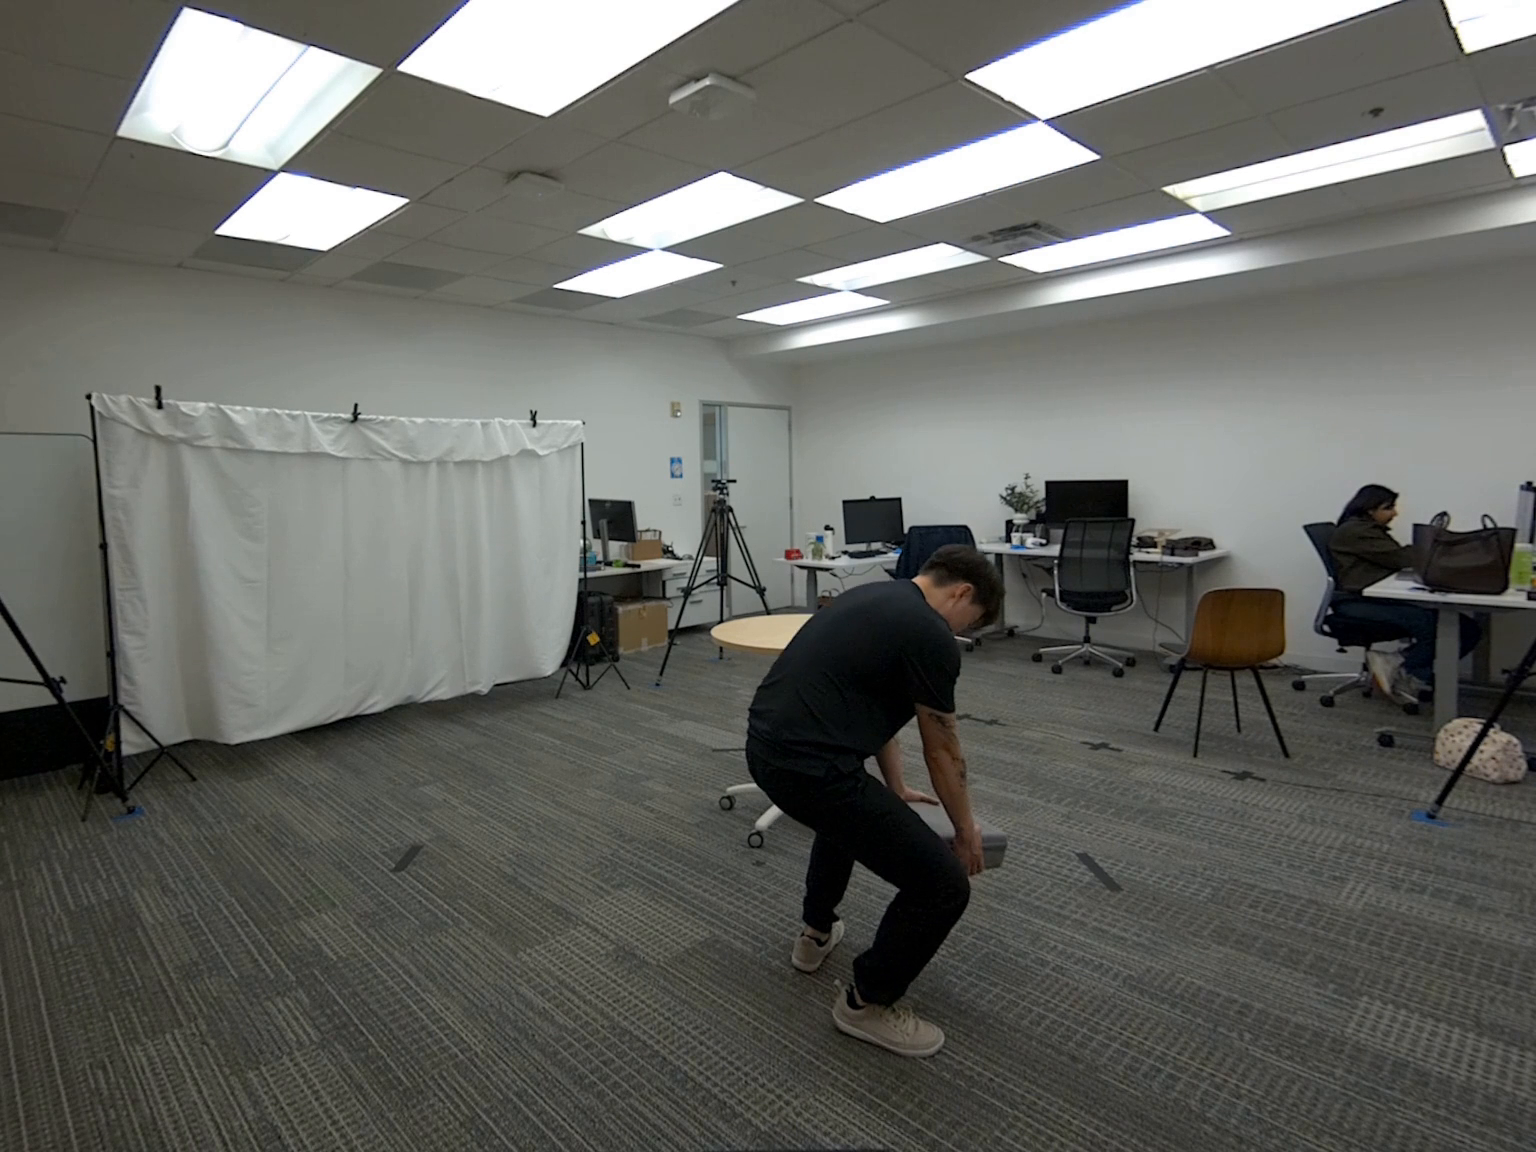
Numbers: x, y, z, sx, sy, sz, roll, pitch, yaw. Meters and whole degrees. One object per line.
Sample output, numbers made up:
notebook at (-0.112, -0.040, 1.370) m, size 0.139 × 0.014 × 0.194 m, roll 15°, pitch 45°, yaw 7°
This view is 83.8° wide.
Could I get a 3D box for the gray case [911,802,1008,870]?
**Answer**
gray case at (0.477, 0.720, 2.366) m, size 0.255 × 0.104 × 0.264 m, roll 5°, pitch 6°, yaw -24°
